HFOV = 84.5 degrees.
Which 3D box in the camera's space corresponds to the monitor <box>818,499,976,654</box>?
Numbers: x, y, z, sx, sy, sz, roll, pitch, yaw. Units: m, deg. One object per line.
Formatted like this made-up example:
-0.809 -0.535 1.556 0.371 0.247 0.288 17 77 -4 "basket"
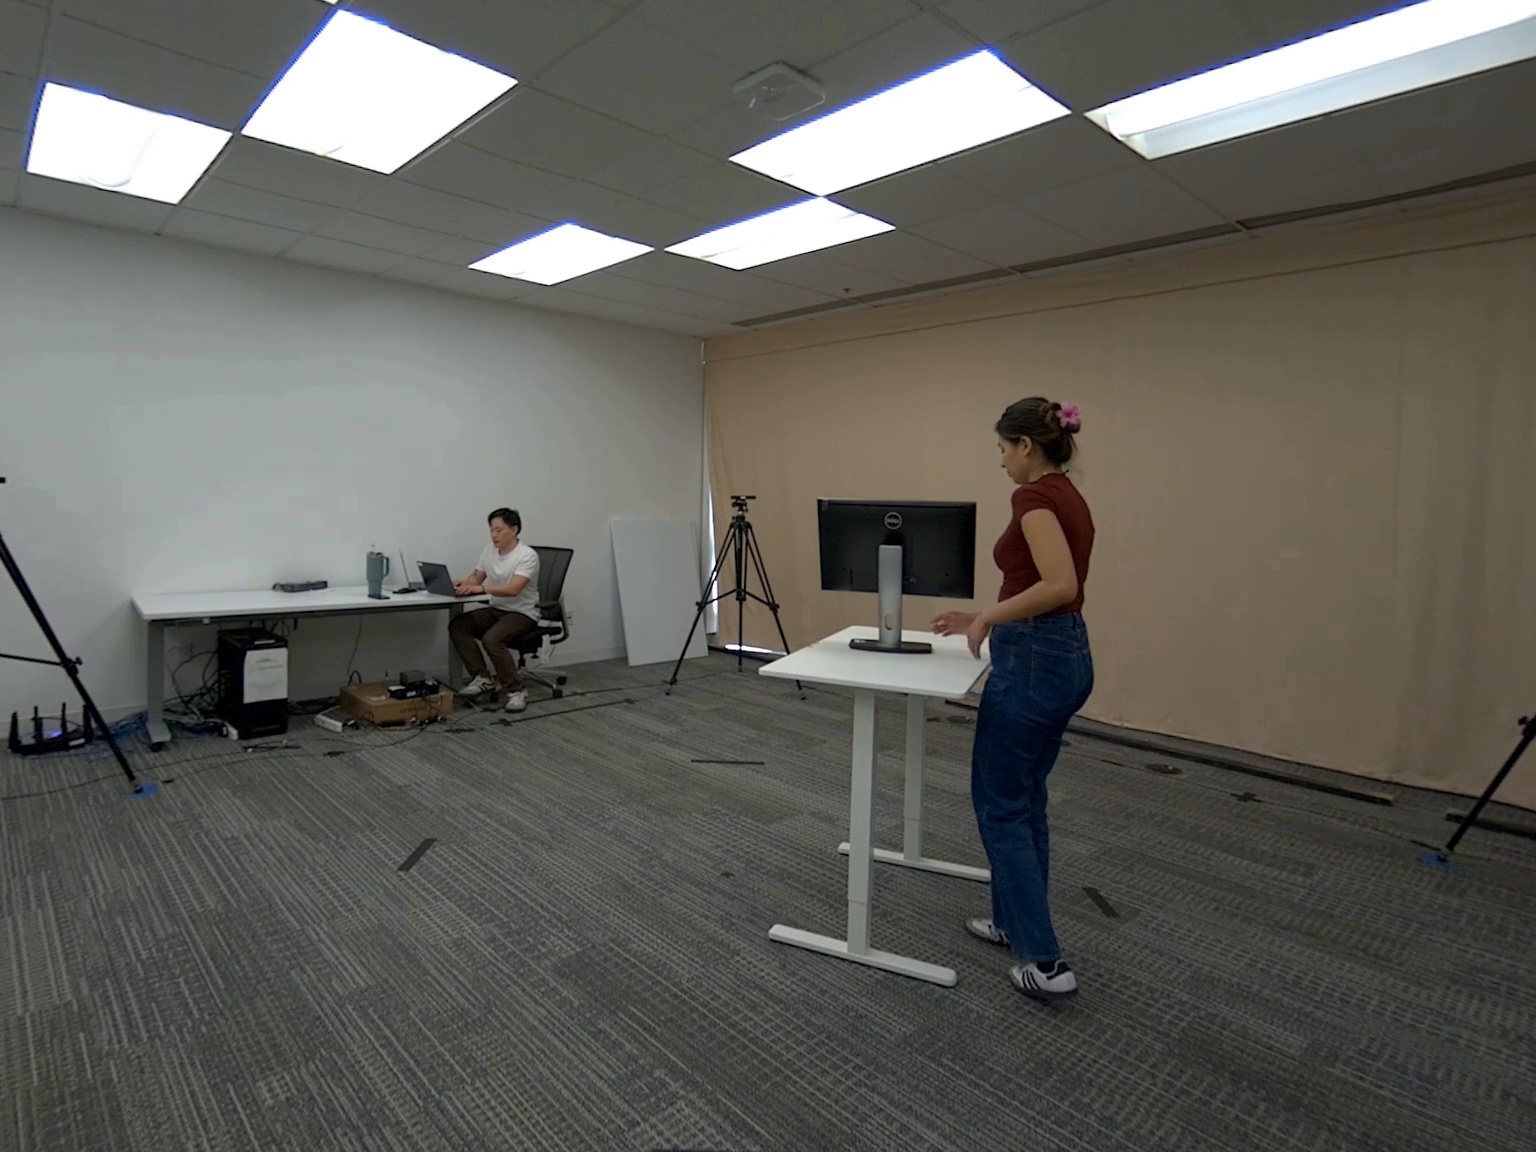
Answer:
0.424 0.001 2.891 0.546 0.520 0.185 3 7 15 "monitor"
